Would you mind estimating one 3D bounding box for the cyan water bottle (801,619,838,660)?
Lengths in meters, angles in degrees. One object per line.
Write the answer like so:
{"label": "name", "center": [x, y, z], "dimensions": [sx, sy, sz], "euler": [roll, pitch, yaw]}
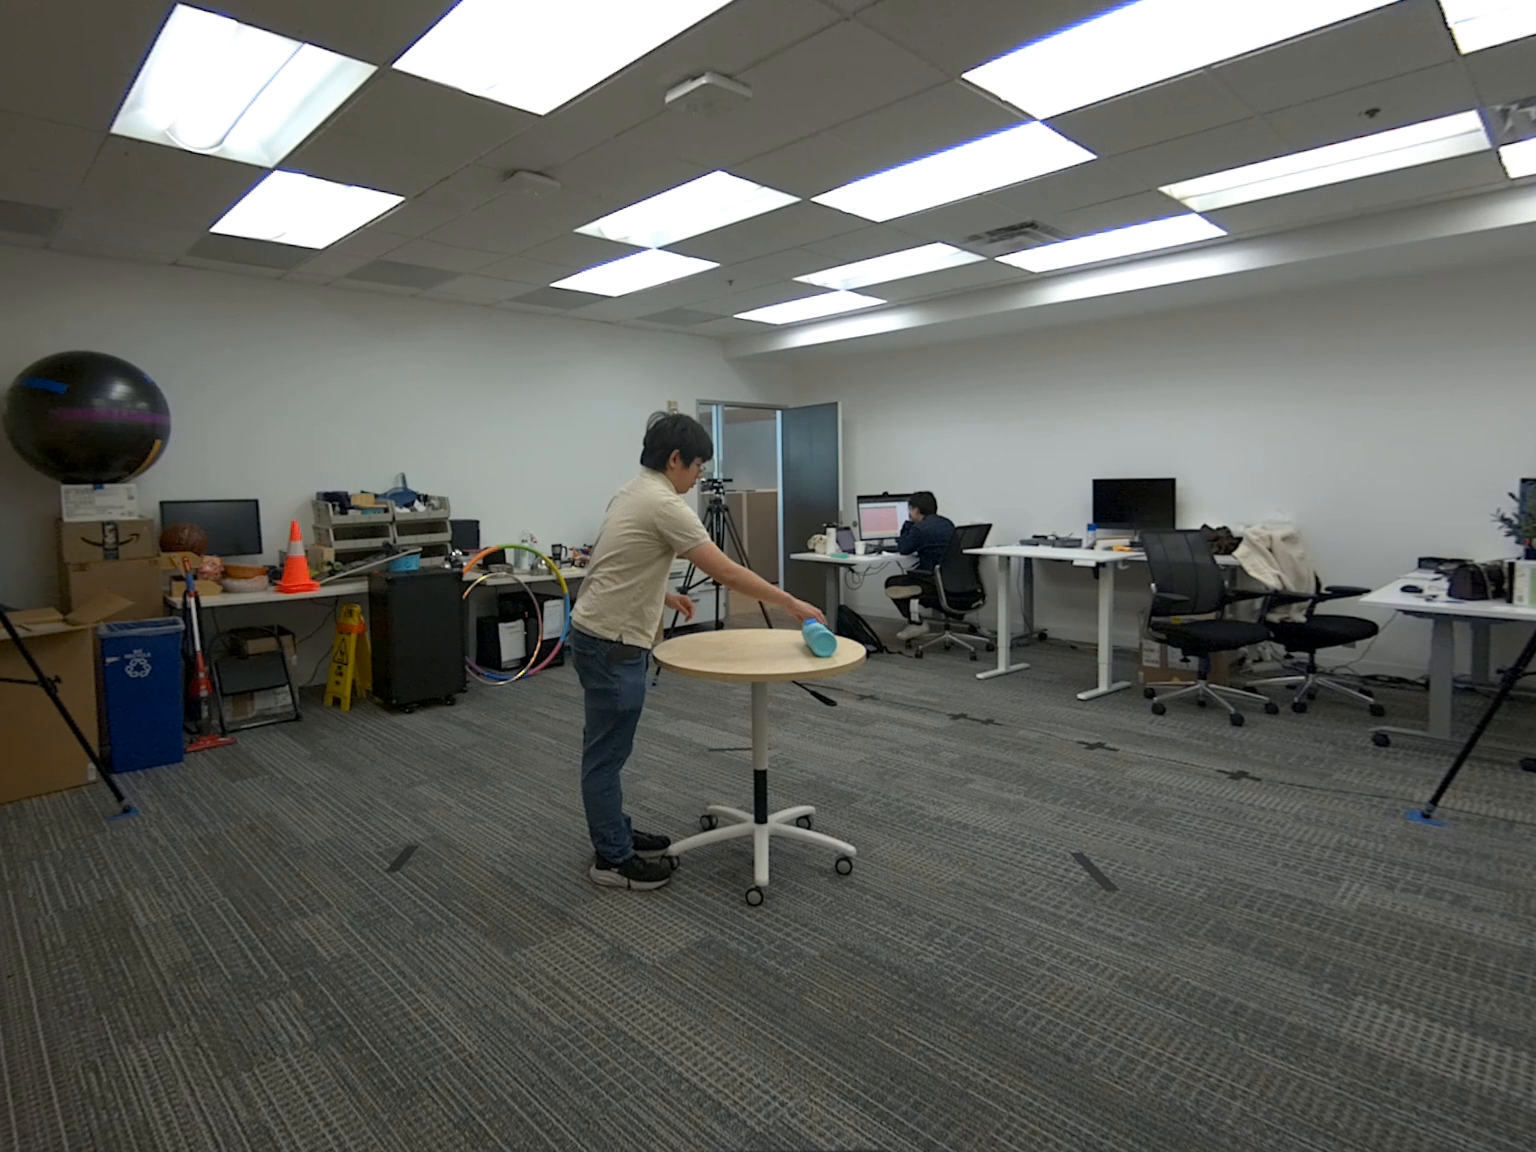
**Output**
{"label": "cyan water bottle", "center": [0.176, 0.215, 3.060], "dimensions": [0.092, 0.092, 0.286], "euler": [-1, 7, -6]}
